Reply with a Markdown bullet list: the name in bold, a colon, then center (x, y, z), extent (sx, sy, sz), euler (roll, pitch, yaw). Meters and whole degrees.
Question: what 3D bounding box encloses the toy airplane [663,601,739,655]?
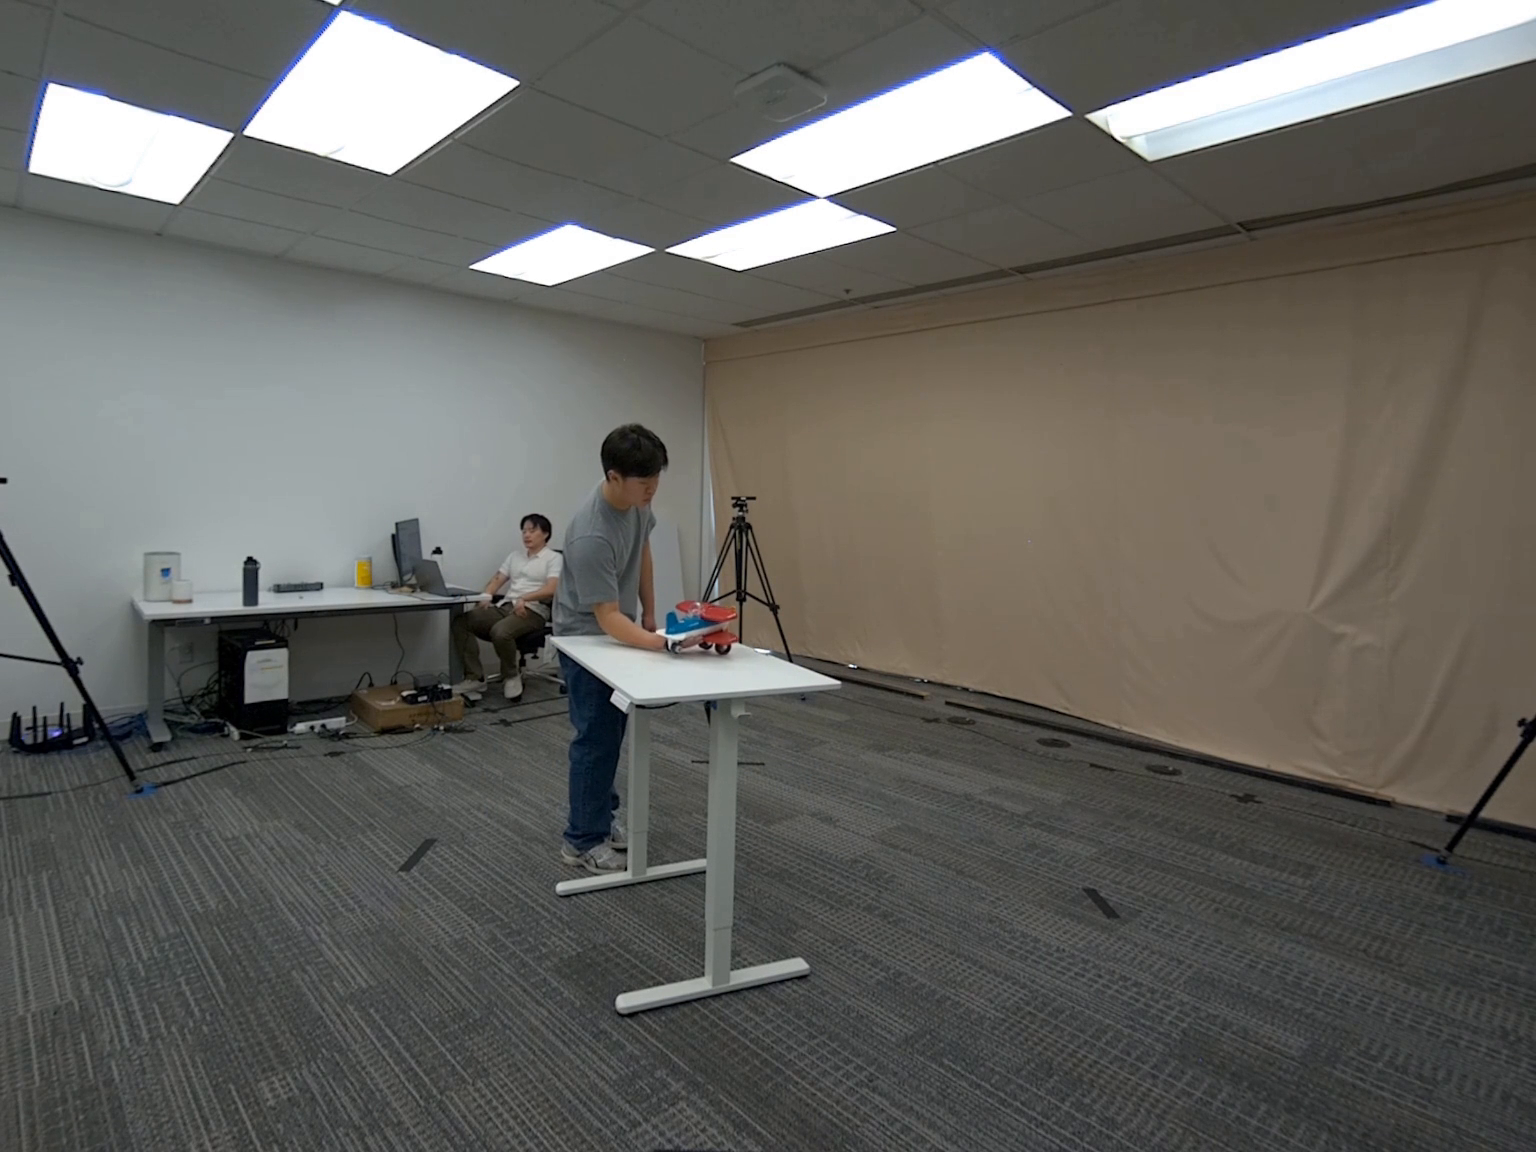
- **toy airplane**: center (-0.215, 0.171, 2.692), extent (0.255, 0.156, 0.255), euler (8, 2, 17)
